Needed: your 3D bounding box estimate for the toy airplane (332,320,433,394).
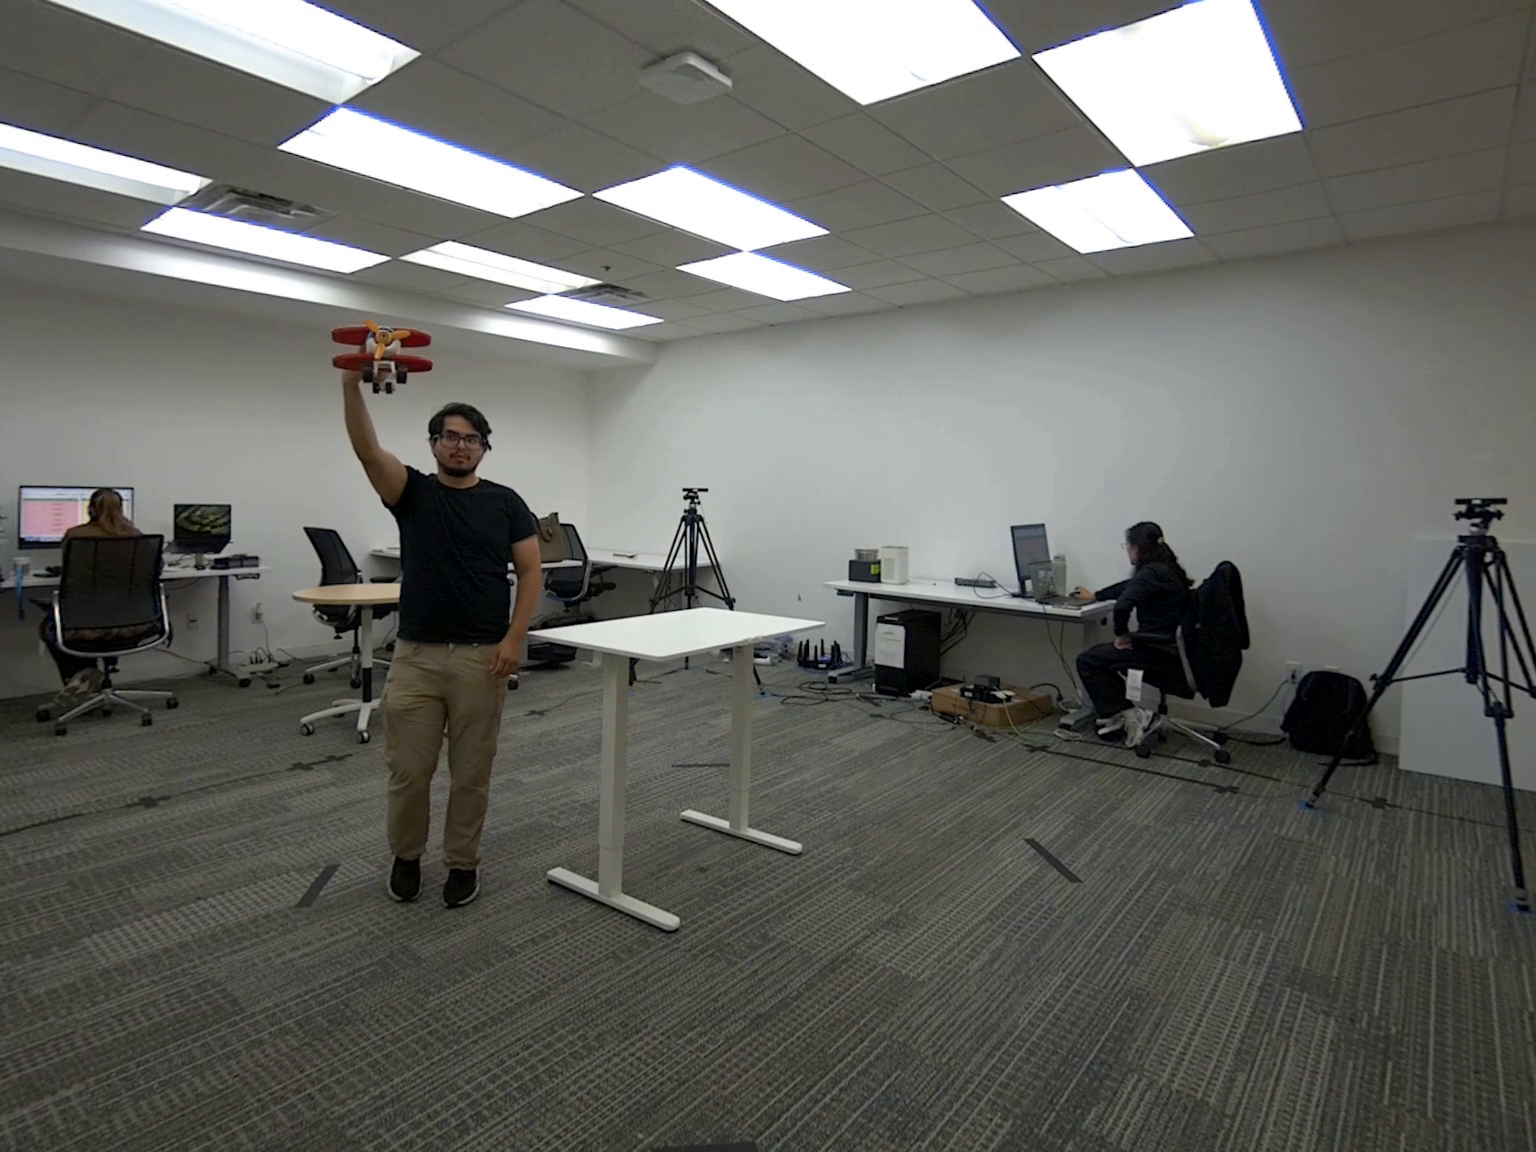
[{"bbox_3d":[-1.094,-0.597,2.337,0.267,0.156,0.244,0,2,38],"label":"toy airplane"}]
